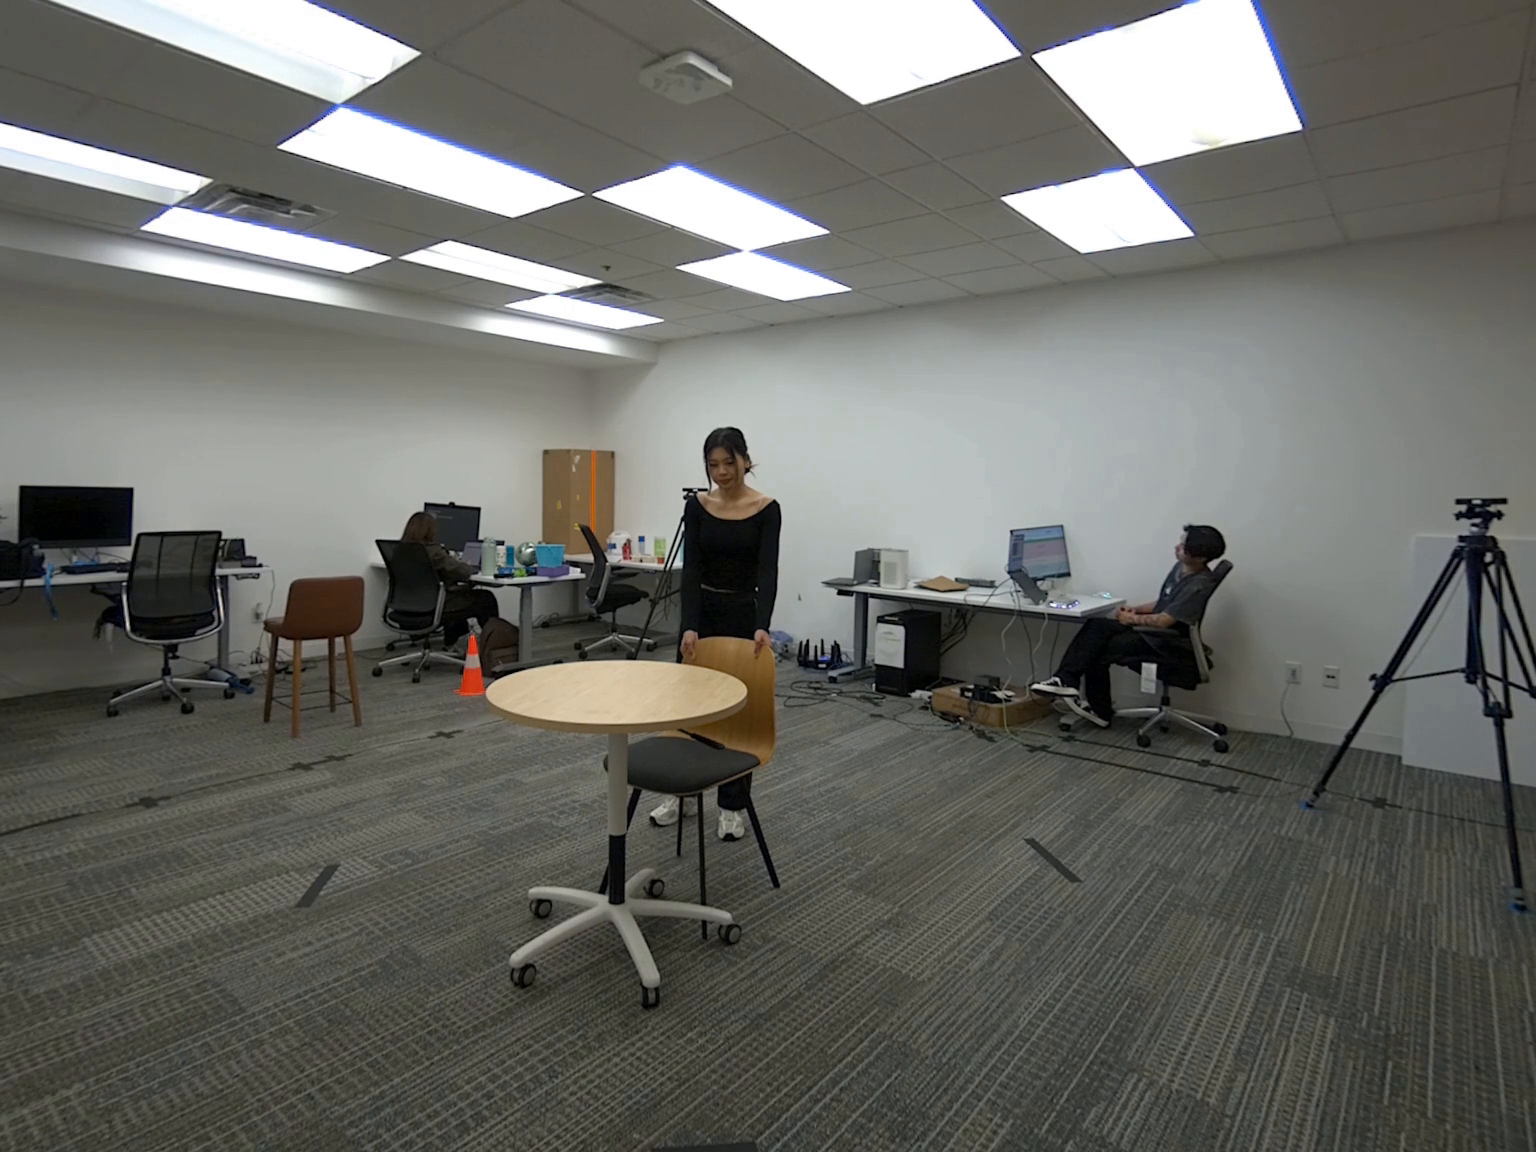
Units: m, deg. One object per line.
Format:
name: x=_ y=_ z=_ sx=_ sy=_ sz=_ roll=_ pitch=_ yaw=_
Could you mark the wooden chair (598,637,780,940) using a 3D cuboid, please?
wooden chair: x=-0.264 y=0.658 z=2.894 sx=0.493 sy=0.878 sz=0.506 roll=4 pitch=0 yaw=33
